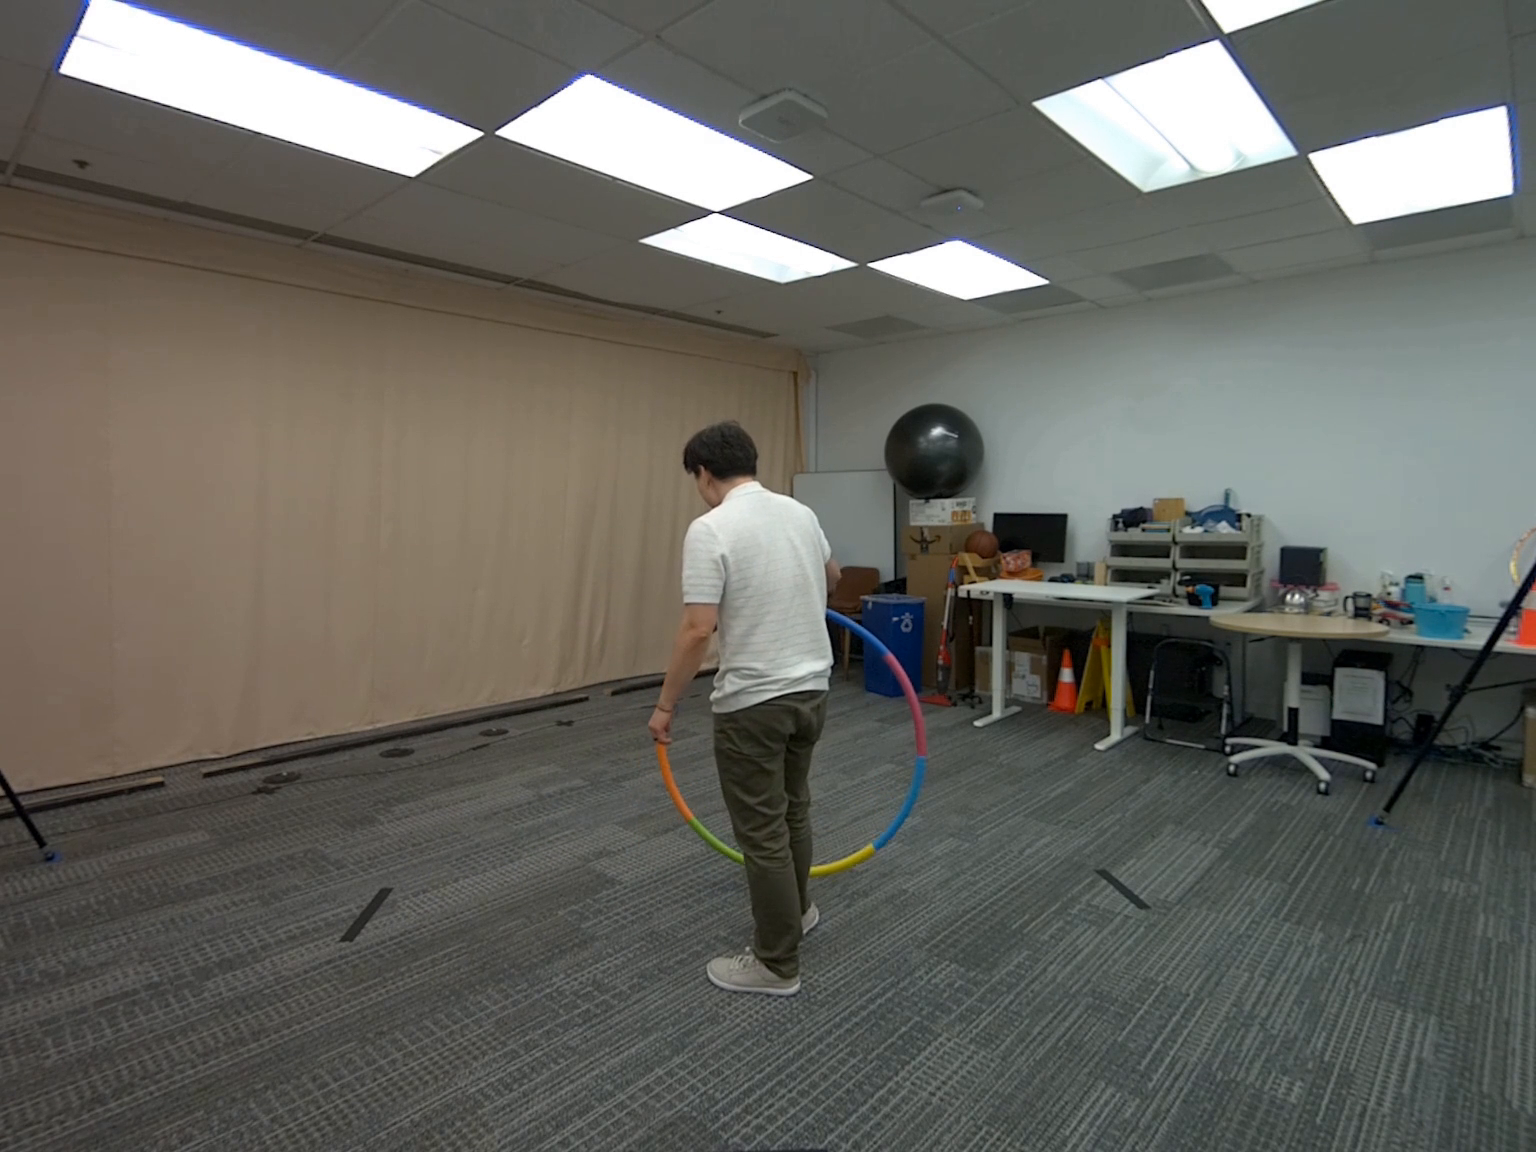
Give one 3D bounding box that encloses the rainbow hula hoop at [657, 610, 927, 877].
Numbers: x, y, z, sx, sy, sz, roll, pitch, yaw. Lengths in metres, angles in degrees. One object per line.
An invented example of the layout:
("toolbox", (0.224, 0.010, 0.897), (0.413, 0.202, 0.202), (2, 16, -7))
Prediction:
("rainbow hula hoop", (0.065, 0.599, 3.033), (0.995, 0.978, 0.035), (1, 0, 16))
